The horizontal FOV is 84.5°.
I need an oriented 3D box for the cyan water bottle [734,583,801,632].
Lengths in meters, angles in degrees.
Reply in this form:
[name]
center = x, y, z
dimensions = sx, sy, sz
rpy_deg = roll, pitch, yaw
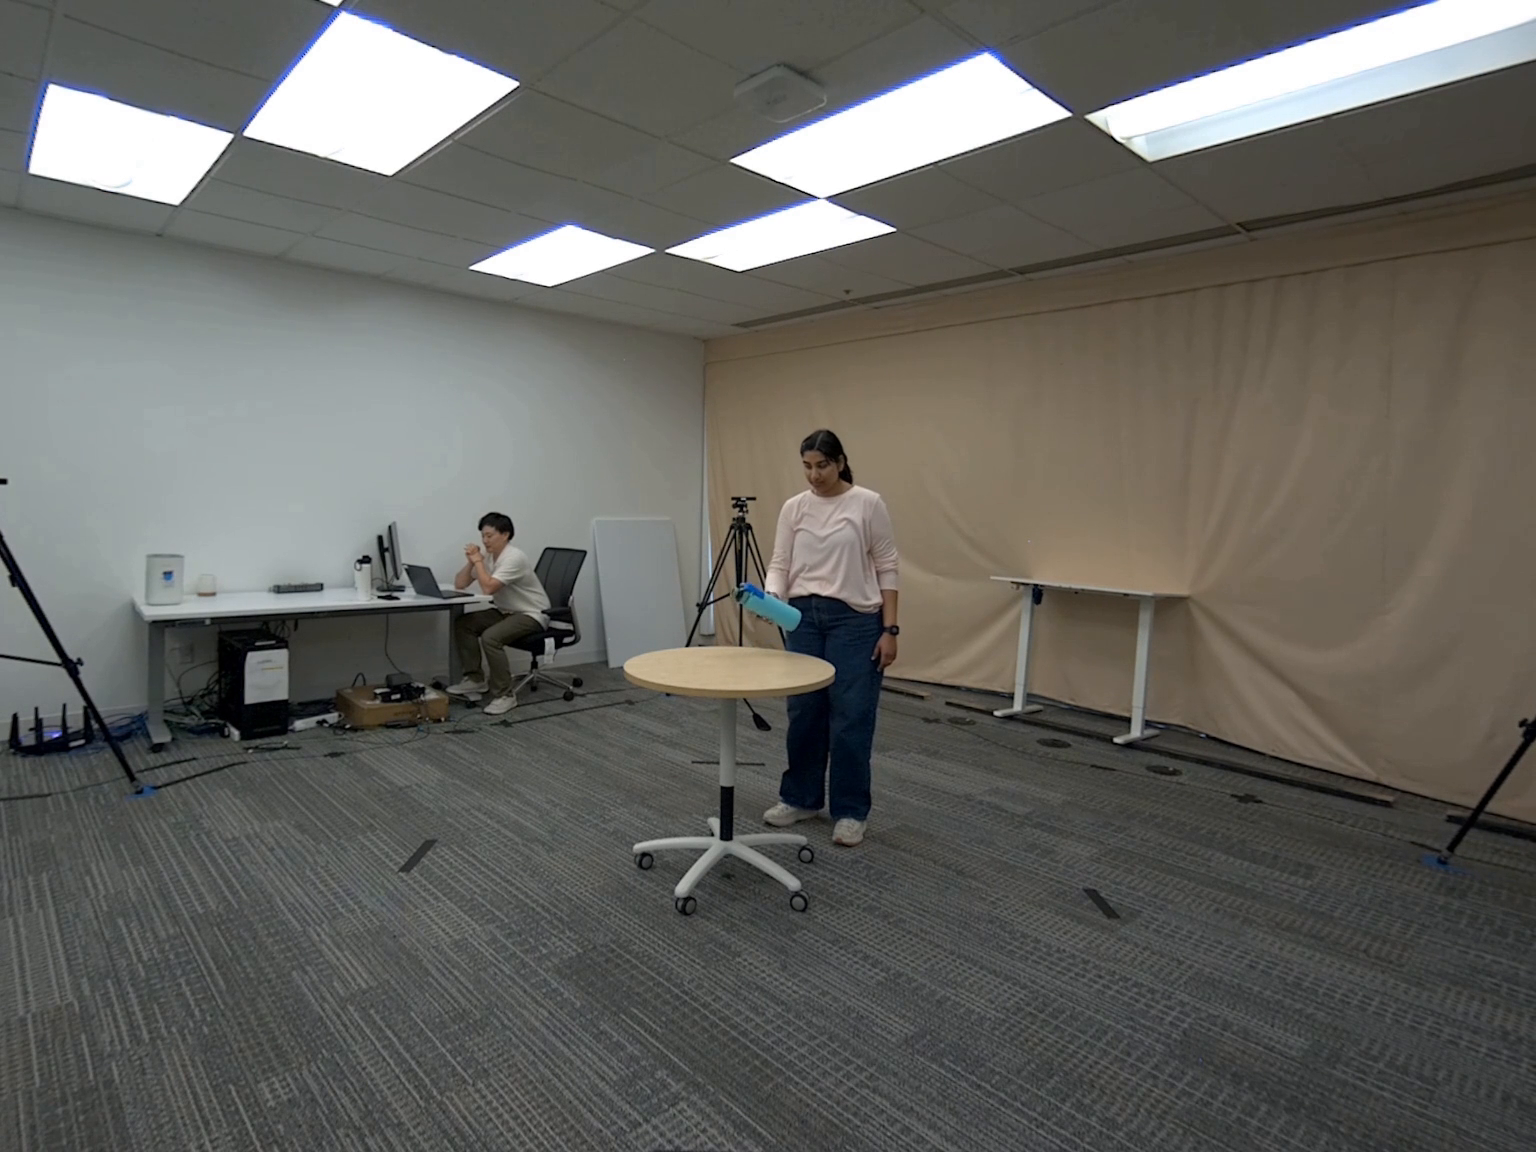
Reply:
[cyan water bottle]
center = -0.019, 0.112, 3.247
dimensions = 0.279, 0.092, 0.094
rpy_deg = 29, -5, -16
